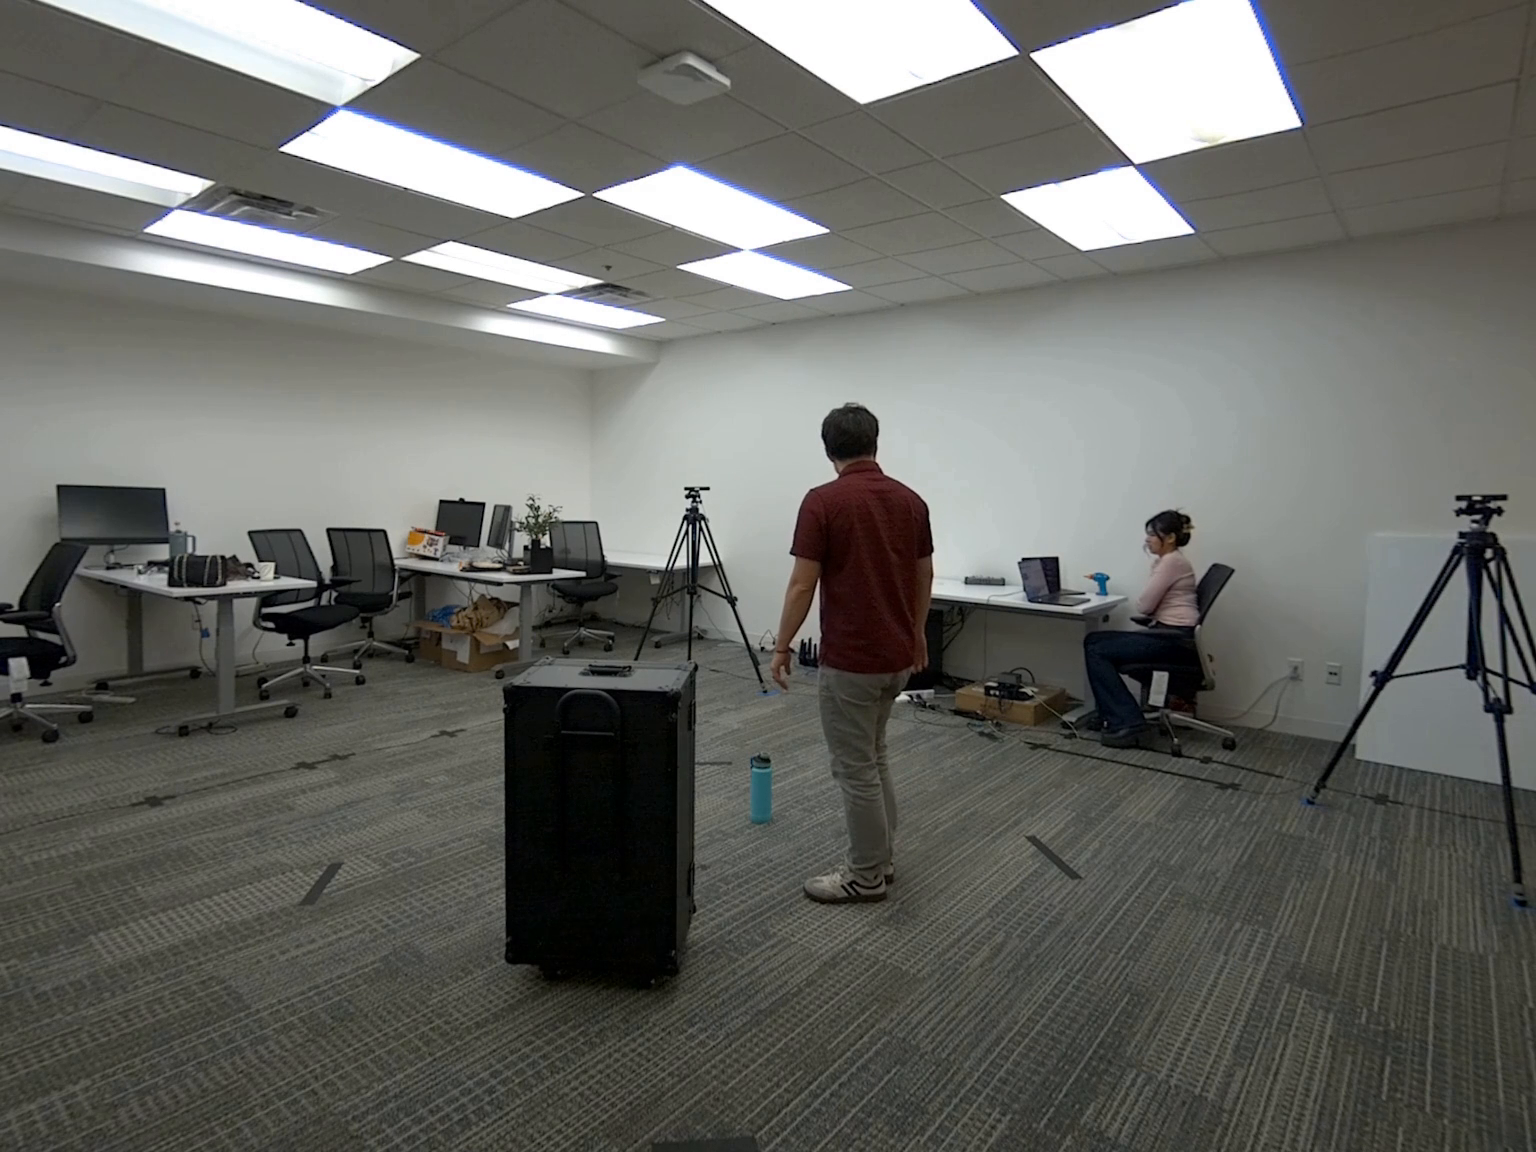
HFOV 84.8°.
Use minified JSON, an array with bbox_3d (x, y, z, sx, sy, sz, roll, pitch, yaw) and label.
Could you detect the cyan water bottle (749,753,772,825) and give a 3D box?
[{"bbox_3d":[-0.040,0.882,3.577,0.092,0.282,0.093,0,4,-2],"label":"cyan water bottle"}]
